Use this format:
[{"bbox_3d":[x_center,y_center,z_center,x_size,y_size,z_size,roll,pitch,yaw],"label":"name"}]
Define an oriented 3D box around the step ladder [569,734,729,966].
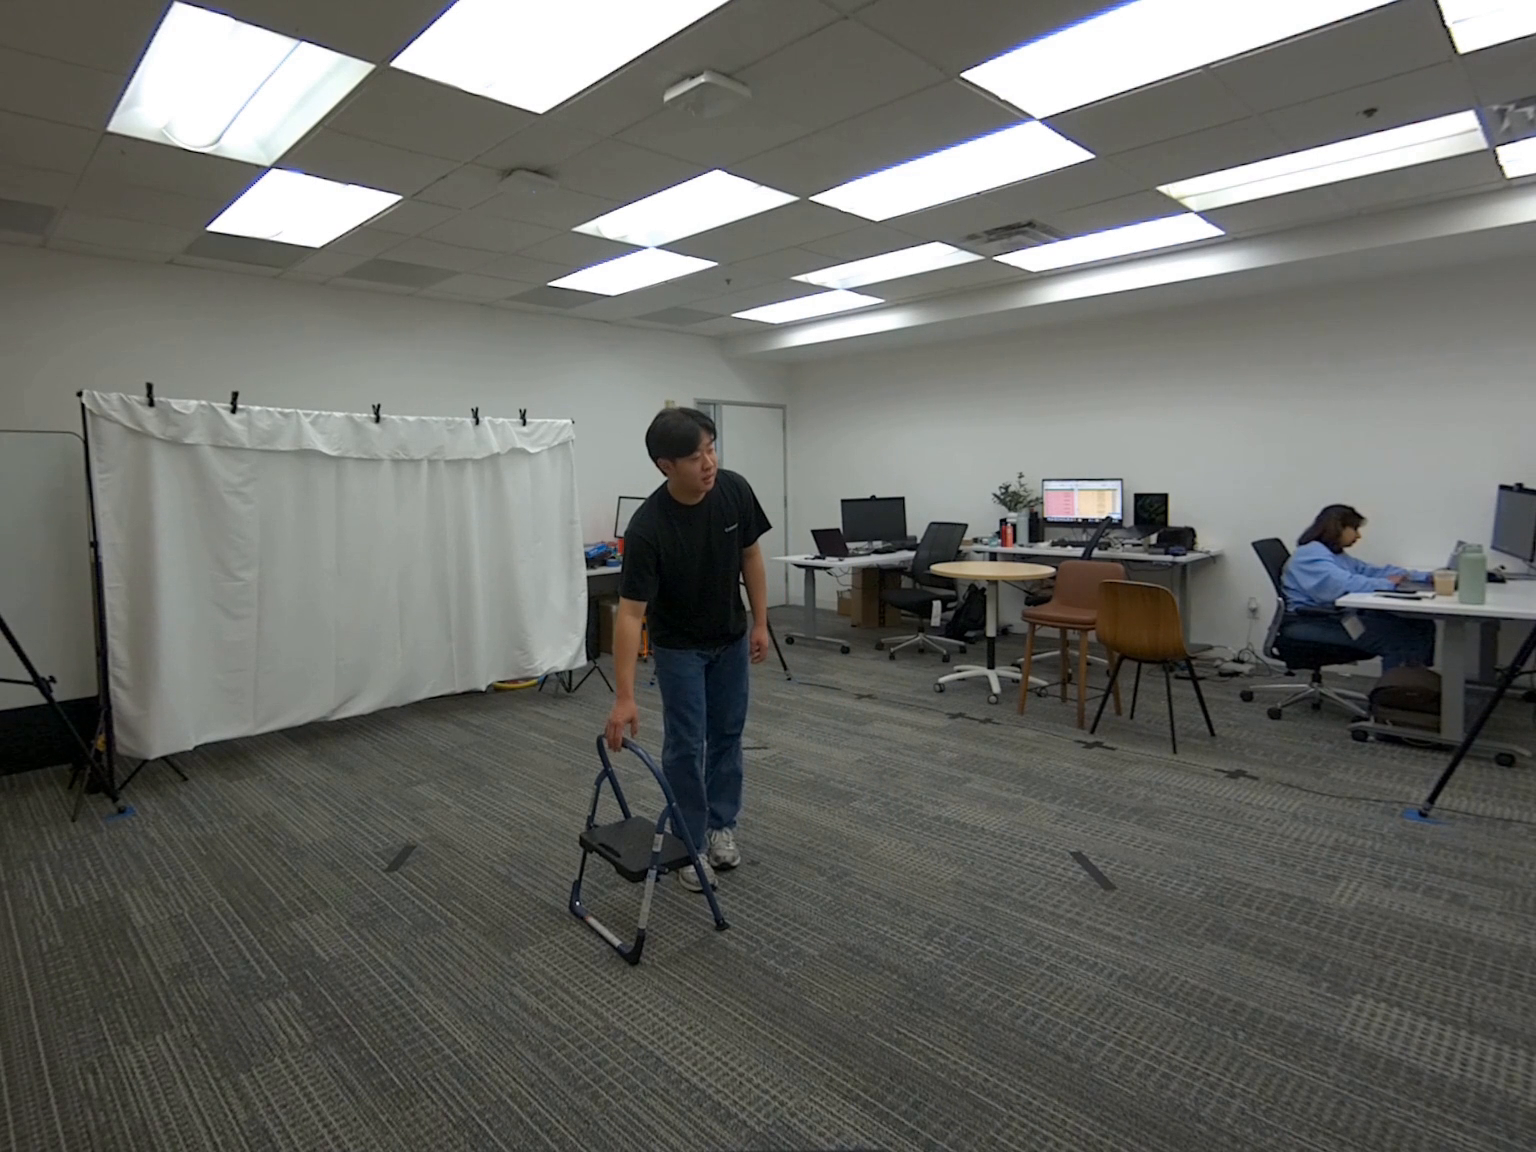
[{"bbox_3d":[-0.395,0.793,2.703,0.340,0.603,0.444,-5,6,-39],"label":"step ladder"}]
